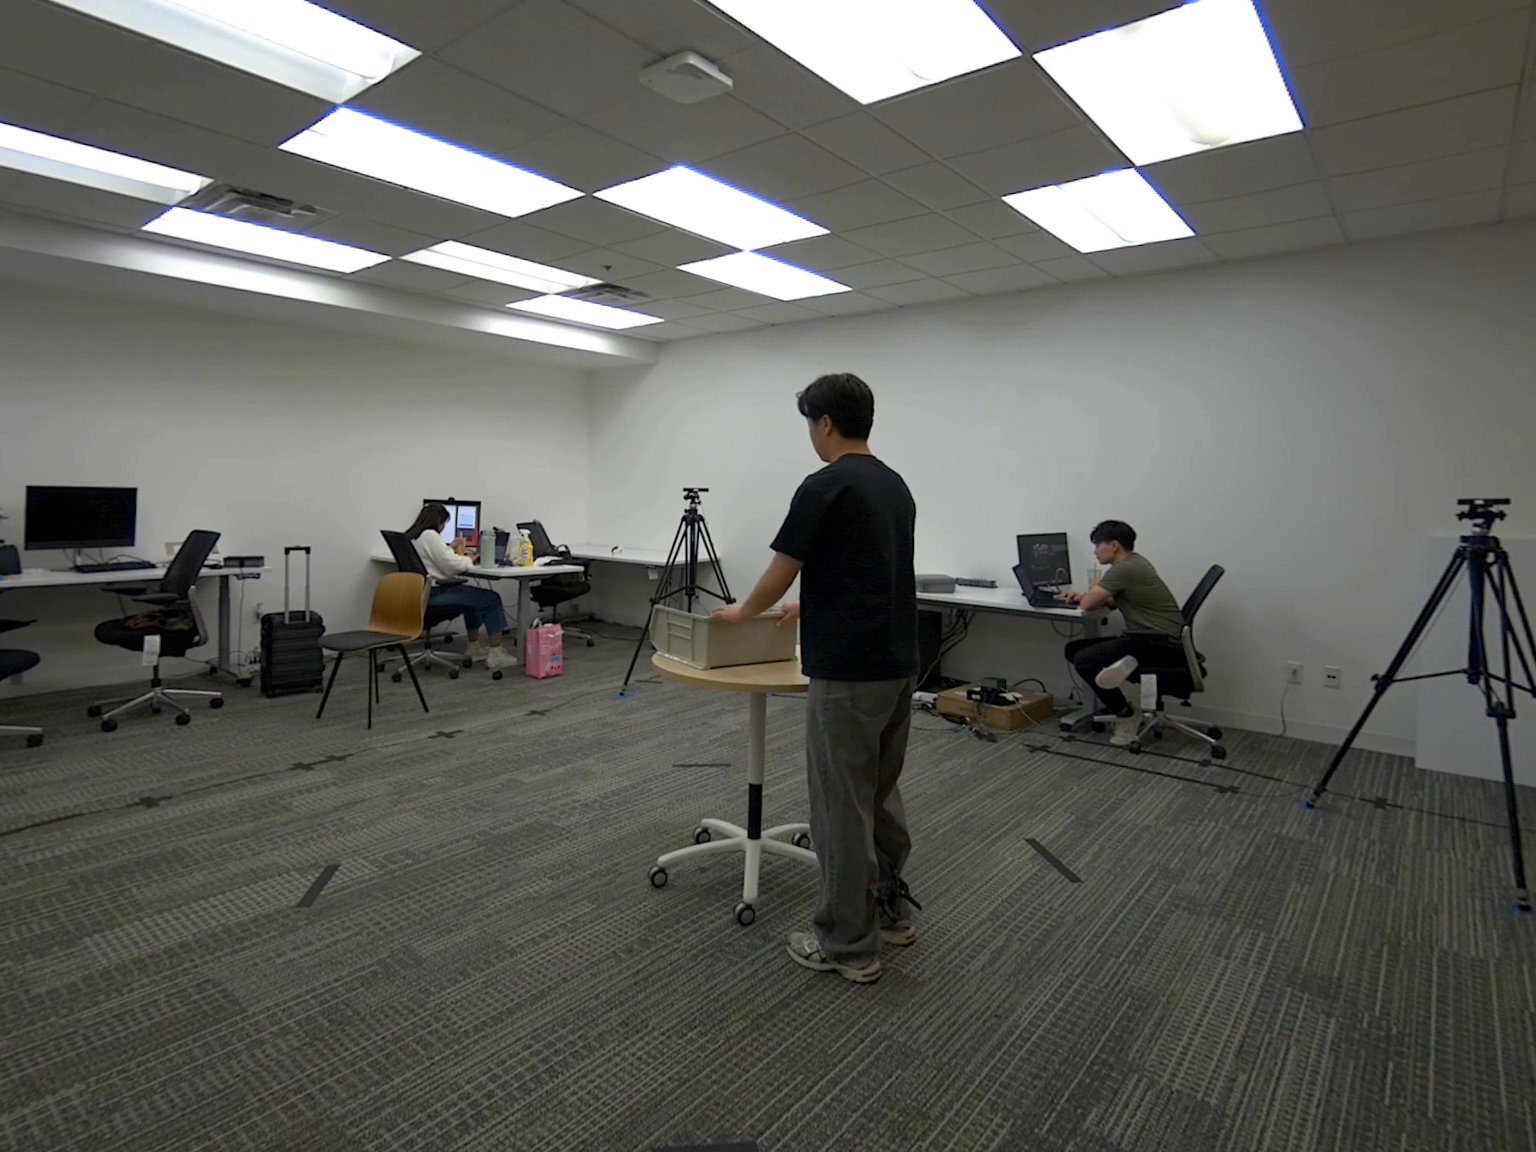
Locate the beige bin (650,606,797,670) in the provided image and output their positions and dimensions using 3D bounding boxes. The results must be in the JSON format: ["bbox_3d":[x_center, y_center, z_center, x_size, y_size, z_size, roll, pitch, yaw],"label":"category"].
[{"bbox_3d":[-0.169,0.201,3.080,0.410,0.188,0.390,-1,7,-35],"label":"beige bin"}]
